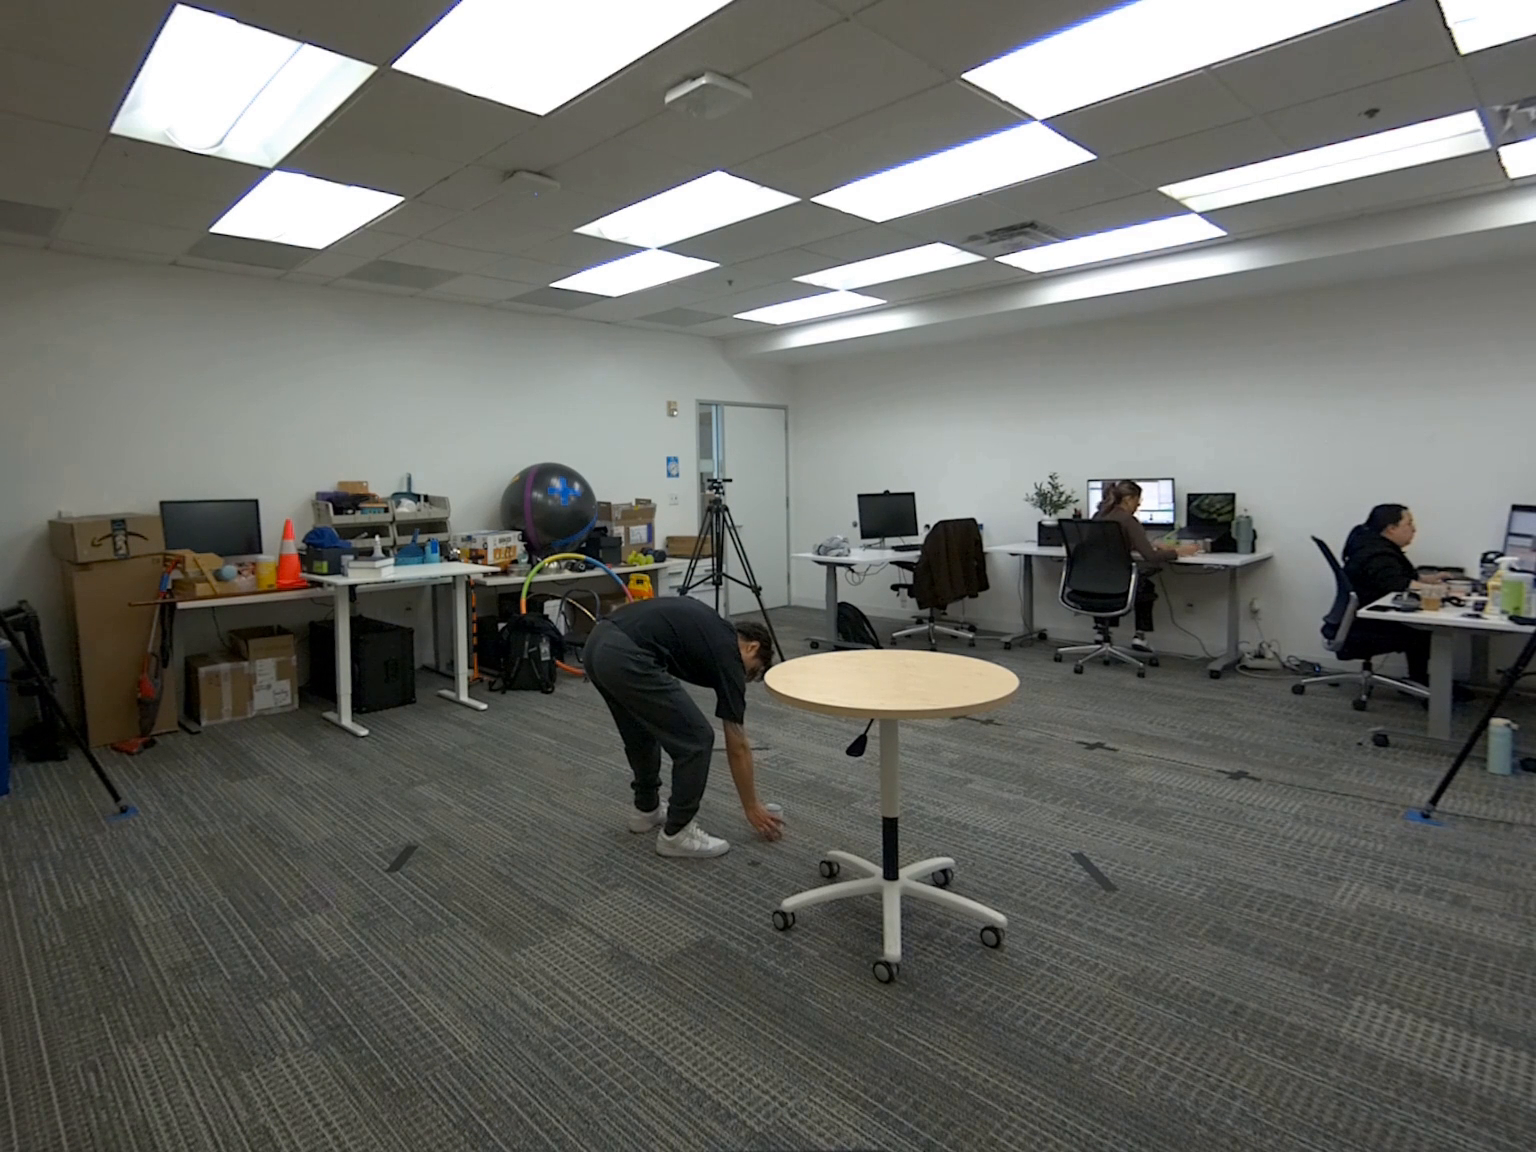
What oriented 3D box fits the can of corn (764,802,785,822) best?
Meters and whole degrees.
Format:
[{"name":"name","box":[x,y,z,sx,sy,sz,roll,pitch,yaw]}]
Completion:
[{"name":"can of corn","box":[0.021,0.961,3.353,0.074,0.110,0.075,-1,7,-1]}]
